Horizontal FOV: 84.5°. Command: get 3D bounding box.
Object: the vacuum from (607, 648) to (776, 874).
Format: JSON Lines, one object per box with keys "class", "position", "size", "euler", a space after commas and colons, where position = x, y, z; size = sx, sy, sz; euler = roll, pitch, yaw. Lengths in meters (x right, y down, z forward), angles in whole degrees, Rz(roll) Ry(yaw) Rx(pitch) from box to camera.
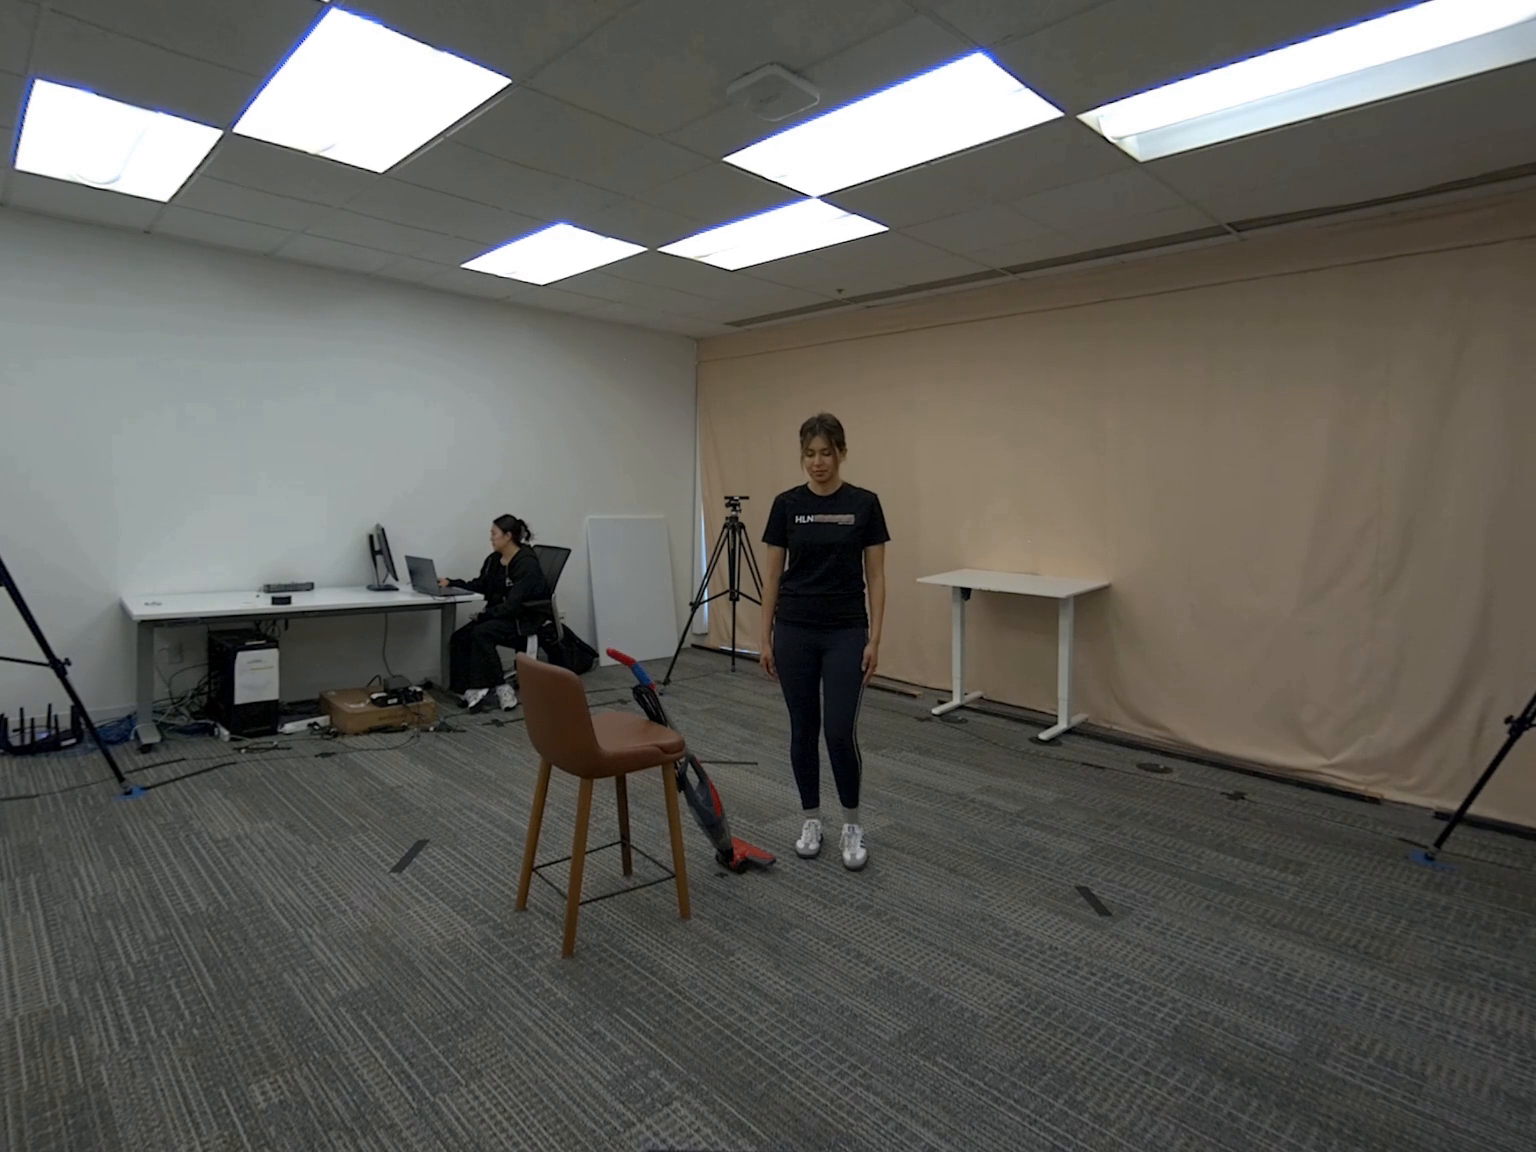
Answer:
{"class": "vacuum", "position": [-0.311, 0.665, 2.988], "size": [0.259, 1.025, 0.144], "euler": [2, 37, 46]}
